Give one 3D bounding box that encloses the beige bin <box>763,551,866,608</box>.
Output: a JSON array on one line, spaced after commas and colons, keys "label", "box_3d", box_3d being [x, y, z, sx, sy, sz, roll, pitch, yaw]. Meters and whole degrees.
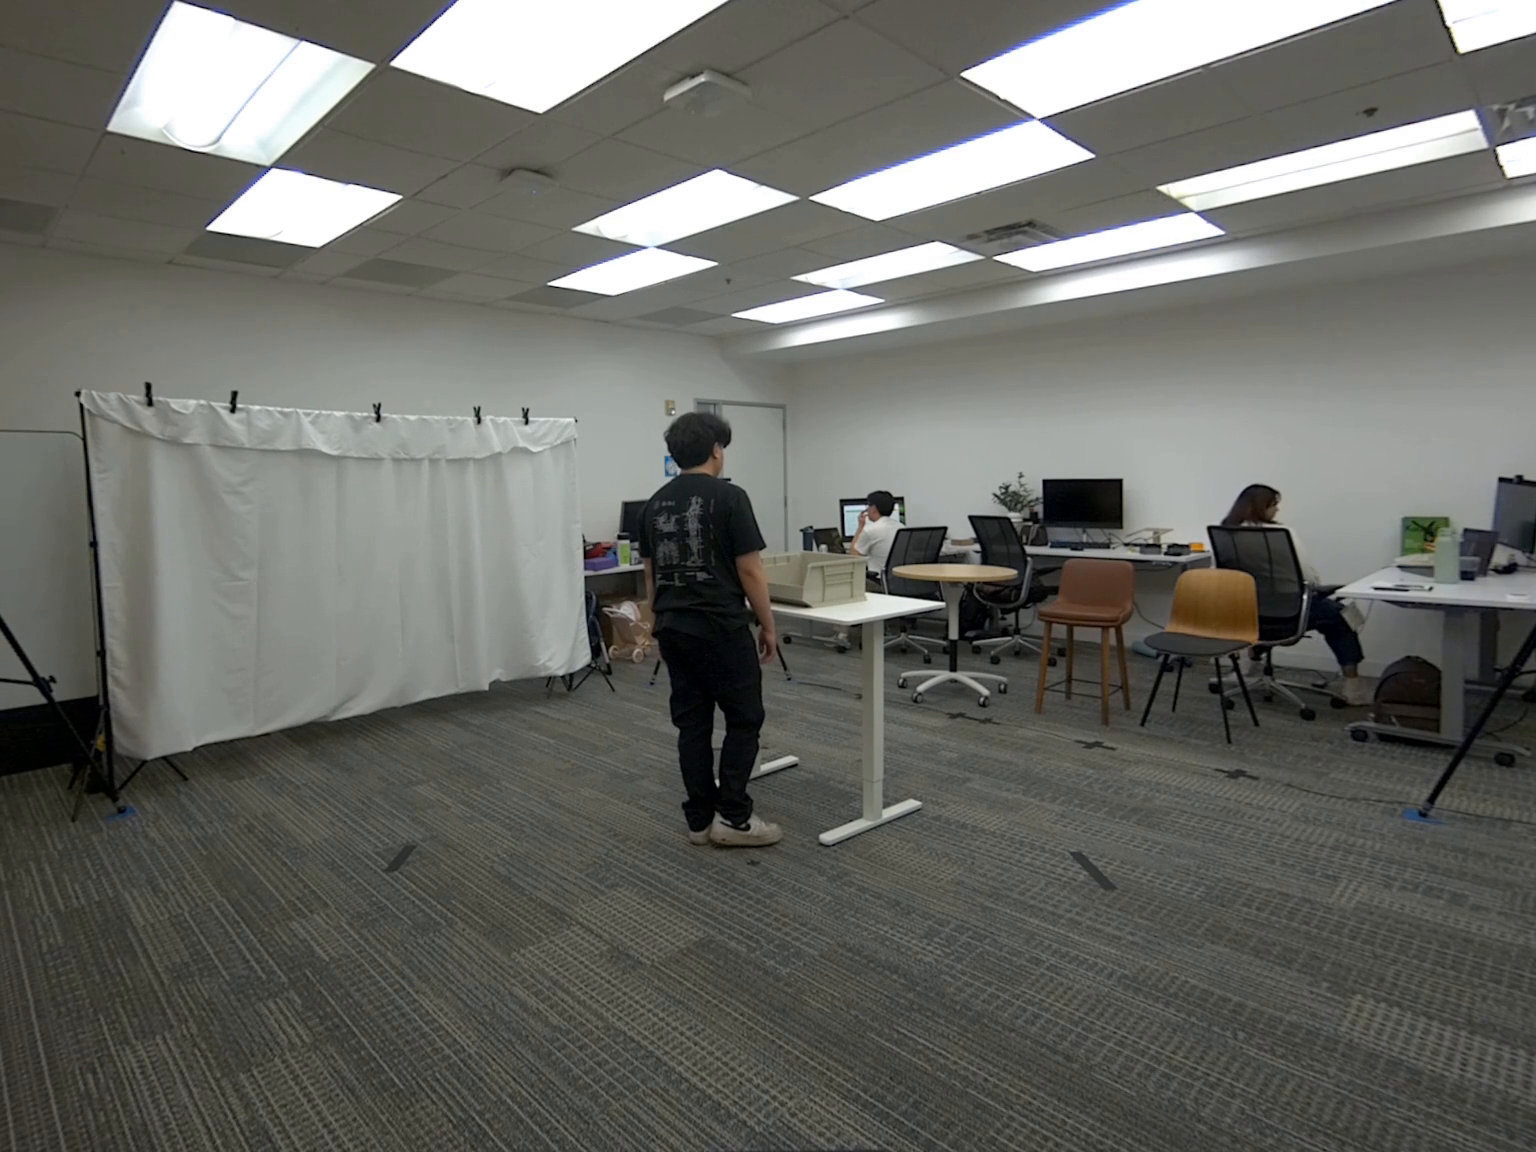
[{"label": "beige bin", "box_3d": [0.152, 0.012, 3.606, 0.367, 0.188, 0.435, -5, 7, -38]}]
